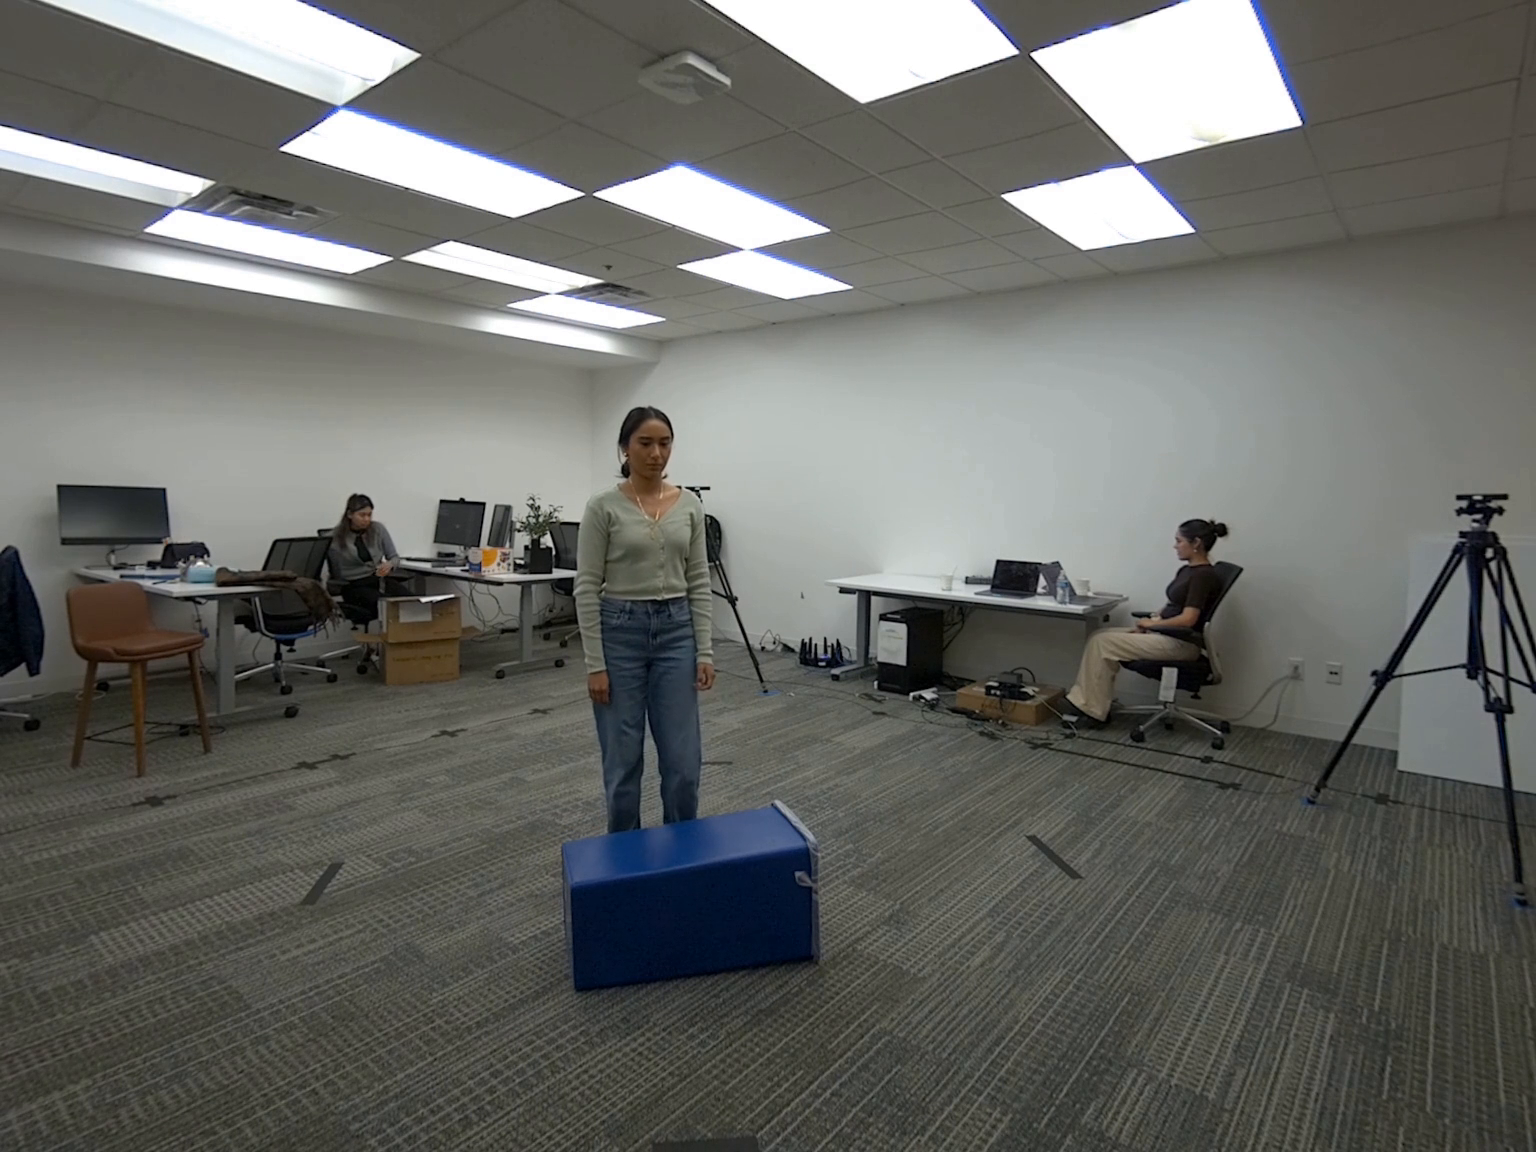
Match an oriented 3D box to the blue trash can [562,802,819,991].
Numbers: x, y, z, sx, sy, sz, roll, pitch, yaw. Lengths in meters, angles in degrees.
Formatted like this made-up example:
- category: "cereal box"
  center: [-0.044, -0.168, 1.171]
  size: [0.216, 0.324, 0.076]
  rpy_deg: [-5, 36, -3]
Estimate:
- category: "blue trash can"
  center: [-0.248, 0.942, 2.556]
  size: [0.703, 0.377, 0.381]
  rpy_deg: [-3, 4, -15]
